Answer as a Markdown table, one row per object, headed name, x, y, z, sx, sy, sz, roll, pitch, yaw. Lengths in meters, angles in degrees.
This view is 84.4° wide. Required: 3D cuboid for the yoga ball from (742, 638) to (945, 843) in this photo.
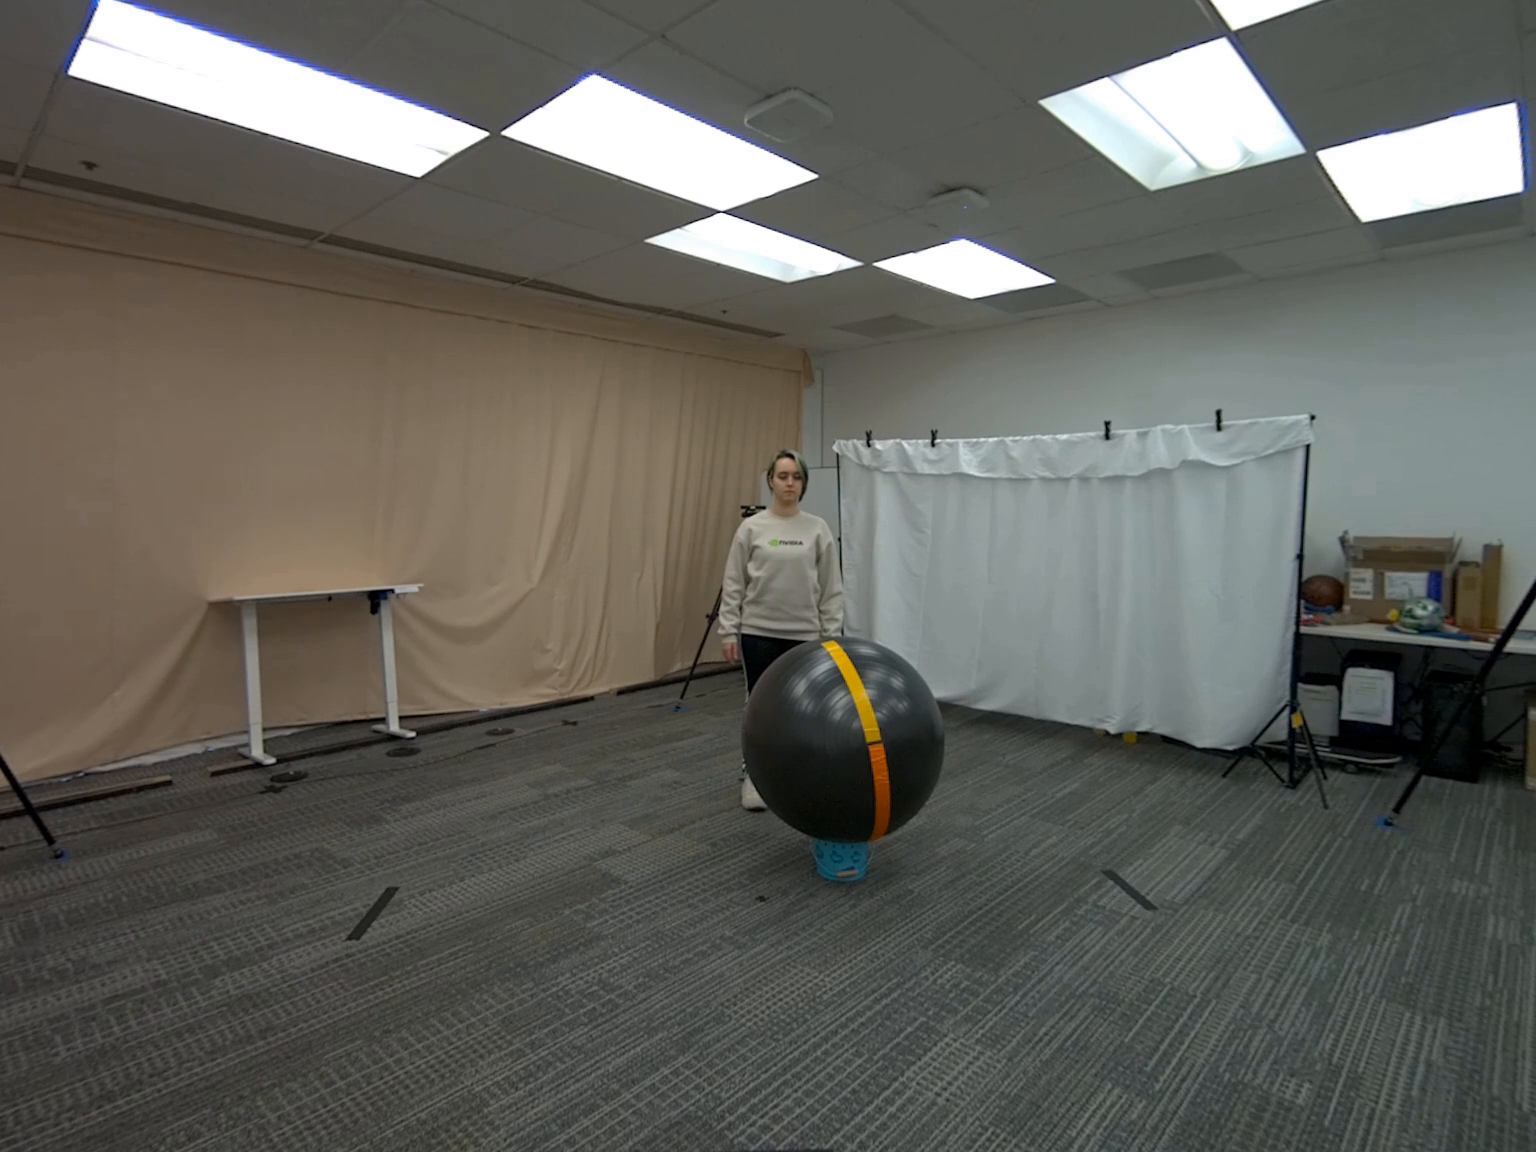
| name | x | y | z | sx | sy | sz | roll | pitch | yaw |
| --- | --- | --- | --- | --- | --- | --- | --- | --- | --- |
| yoga ball | 0.286 | 0.615 | 3.182 | 0.757 | 0.756 | 0.760 | 0 | 4 | -2 |
